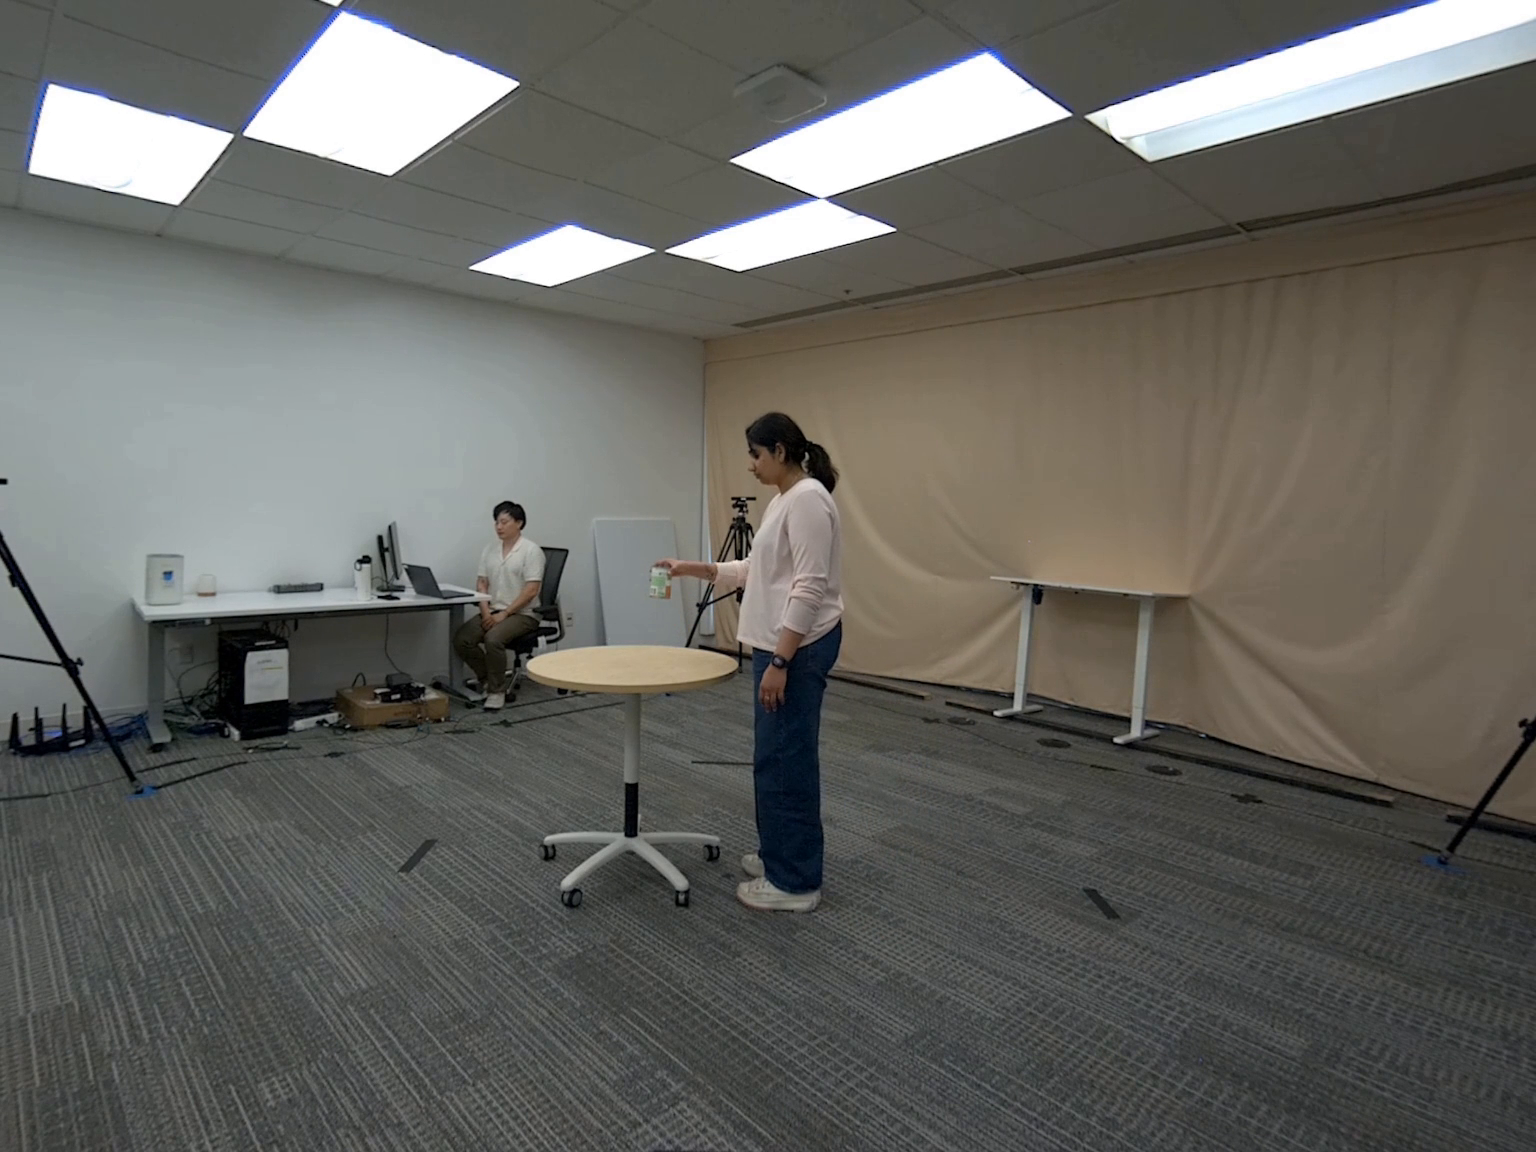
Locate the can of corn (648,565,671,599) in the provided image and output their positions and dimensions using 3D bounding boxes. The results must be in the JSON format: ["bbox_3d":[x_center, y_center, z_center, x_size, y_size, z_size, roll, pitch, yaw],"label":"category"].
[{"bbox_3d":[-0.391,0.028,3.053,0.074,0.111,0.074,3,2,-1],"label":"can of corn"}]
